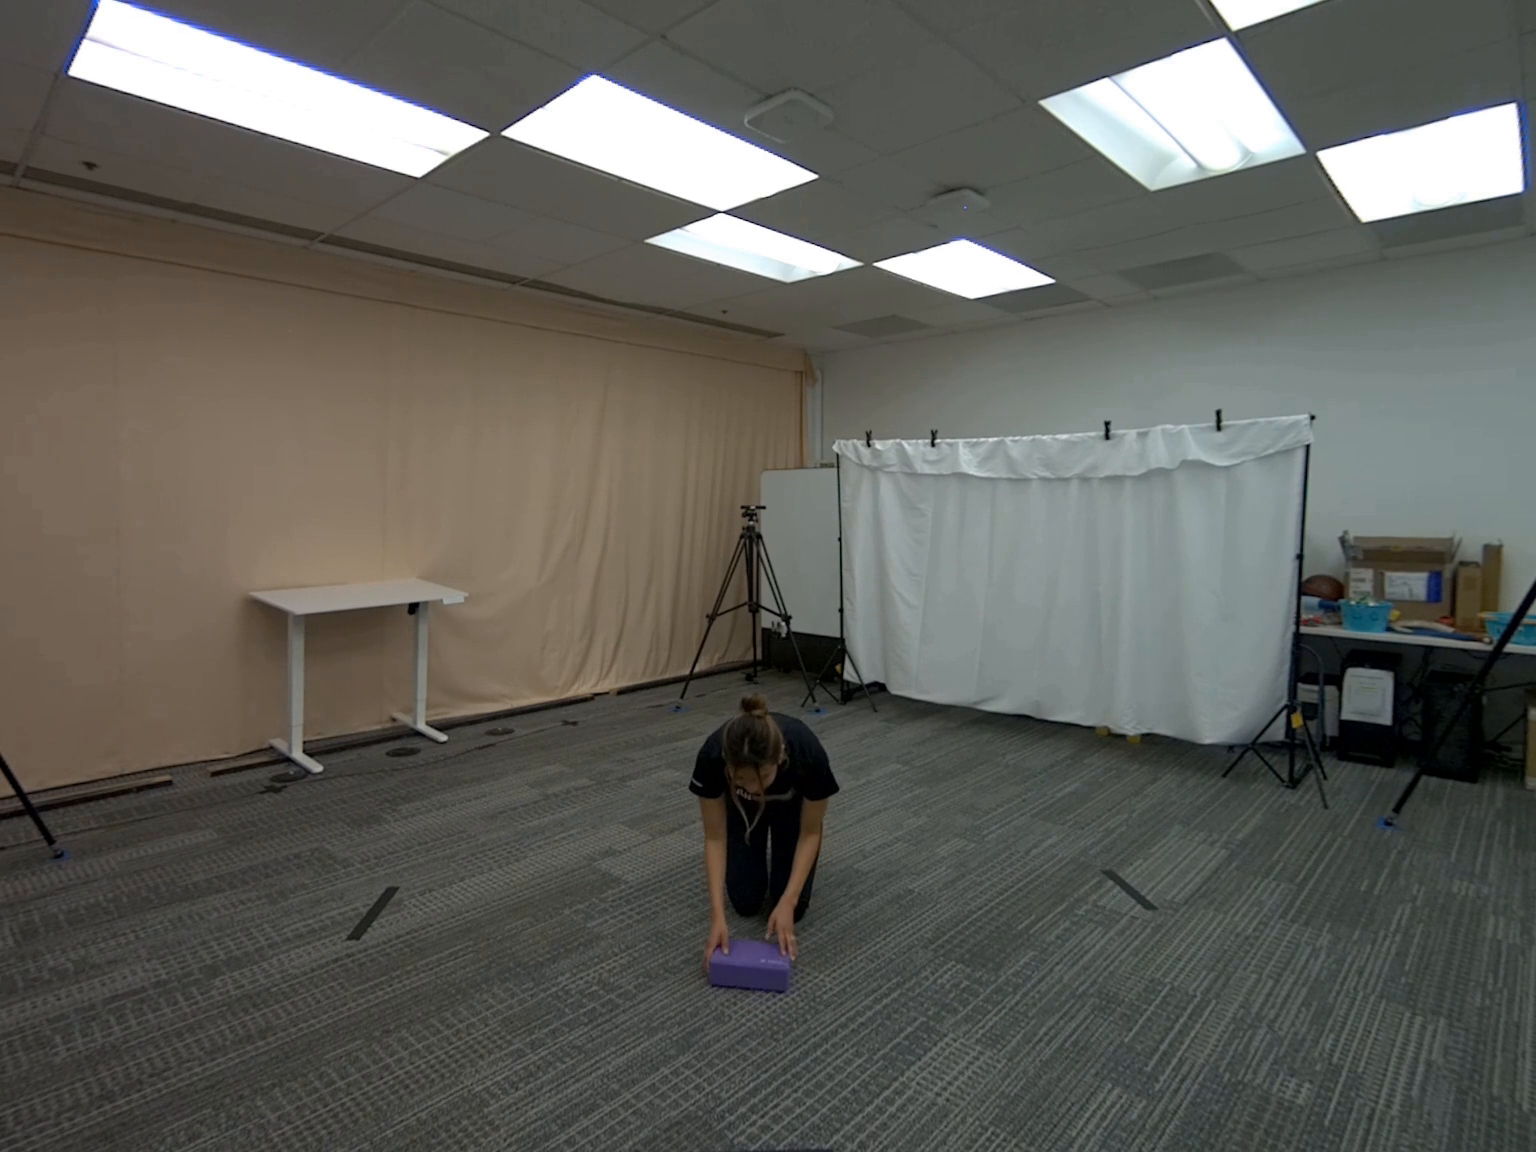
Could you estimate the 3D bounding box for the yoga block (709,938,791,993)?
[{"bbox_3d":[-0.043,1.135,2.486,0.231,0.076,0.148,2,3,8],"label":"yoga block"}]
